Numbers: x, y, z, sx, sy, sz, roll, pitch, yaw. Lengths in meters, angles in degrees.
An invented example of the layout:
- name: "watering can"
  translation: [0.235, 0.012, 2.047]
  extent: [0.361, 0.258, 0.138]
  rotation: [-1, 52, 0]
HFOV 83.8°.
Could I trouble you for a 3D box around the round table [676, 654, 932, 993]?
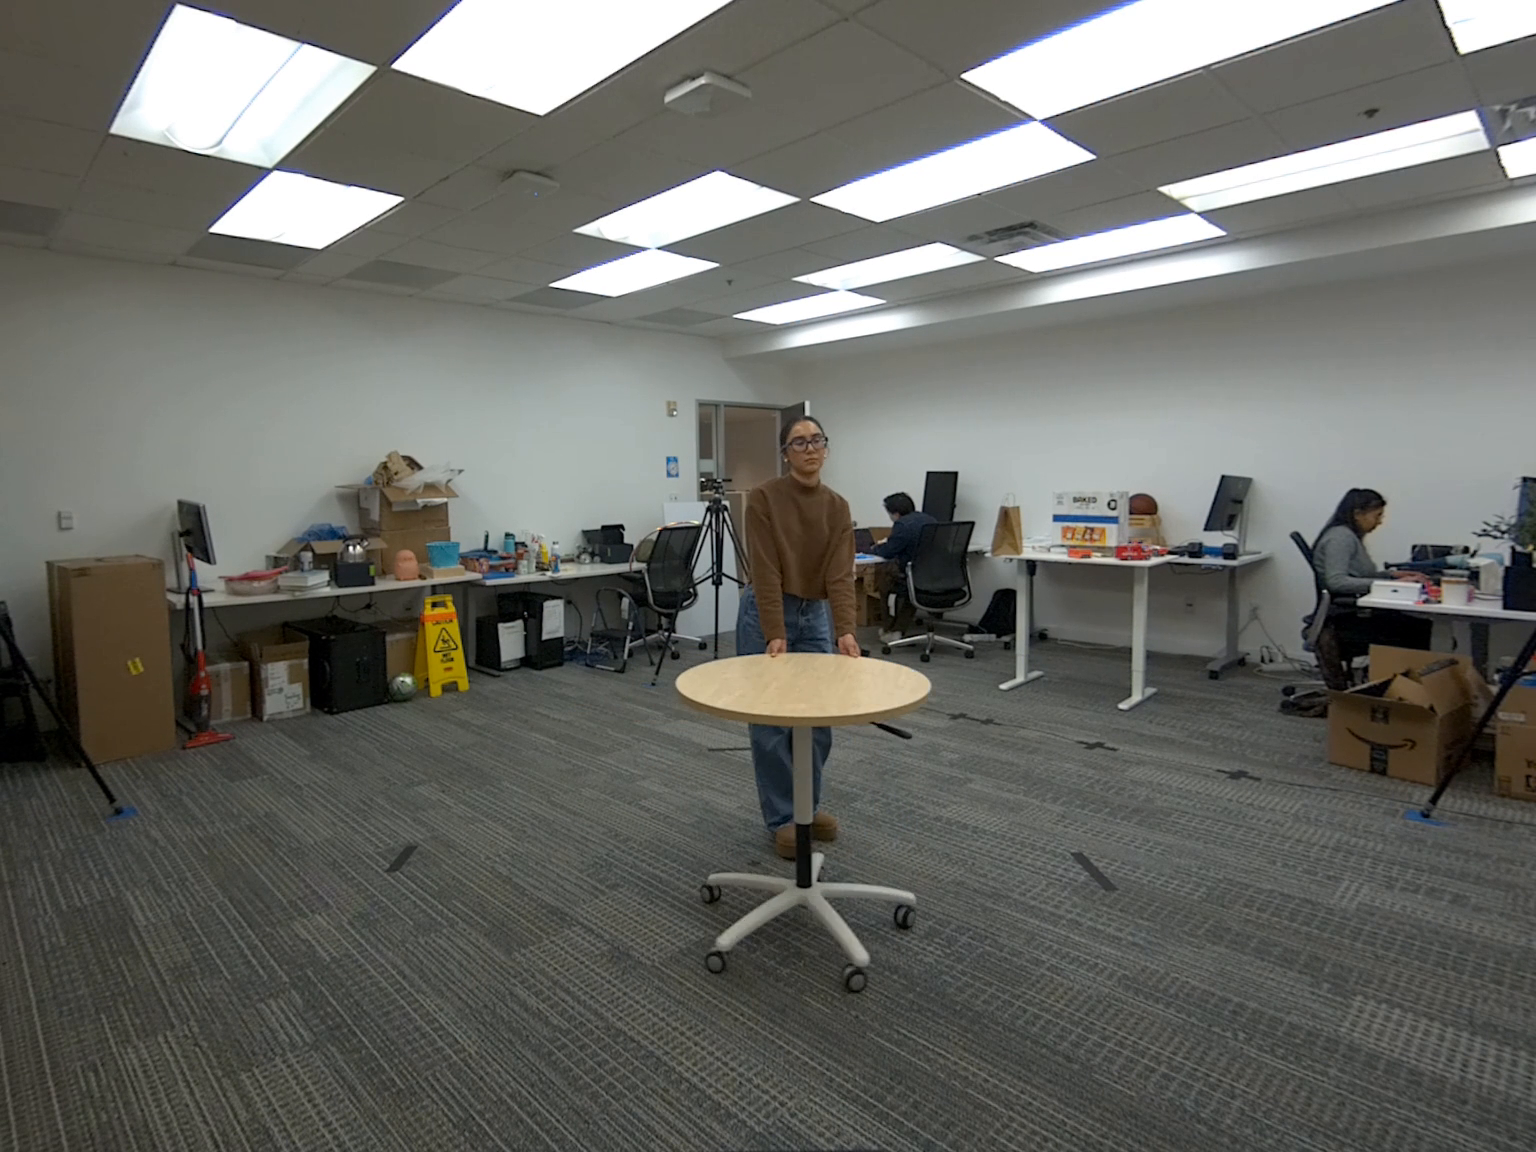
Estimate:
- name: "round table"
  translation: [0.096, 0.704, 2.637]
  extent: [0.784, 0.783, 0.789]
  rotation: [-1, 5, -2]
